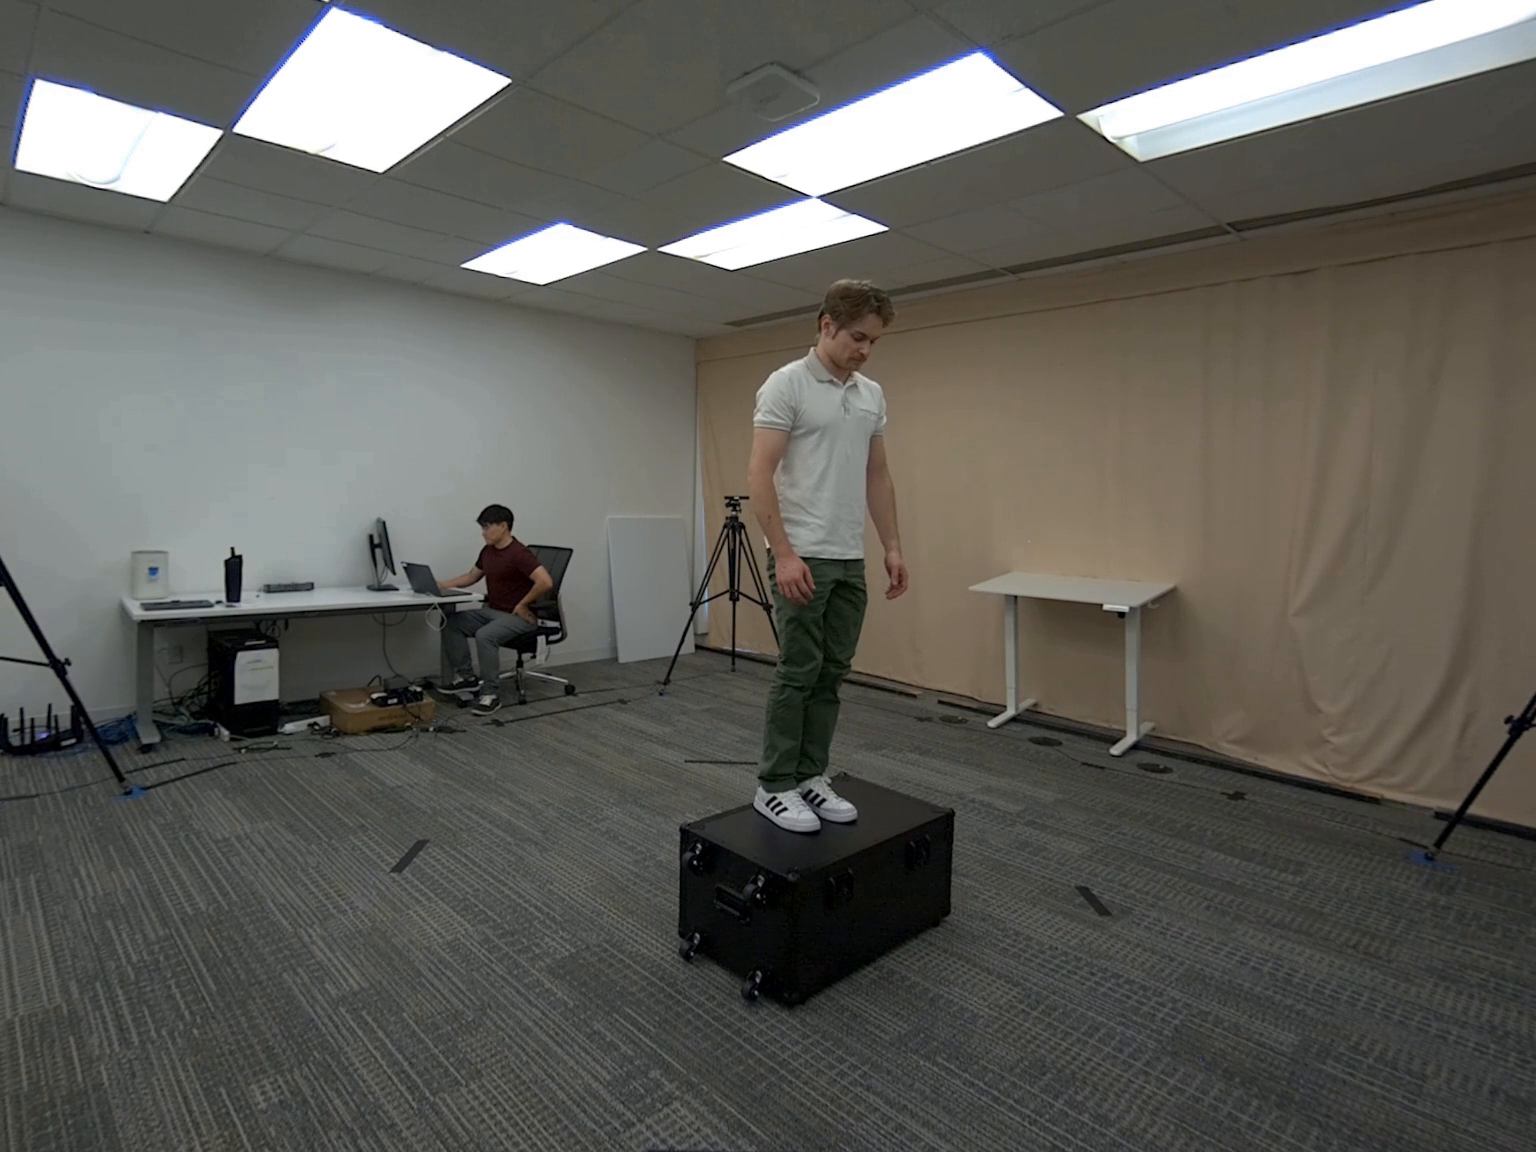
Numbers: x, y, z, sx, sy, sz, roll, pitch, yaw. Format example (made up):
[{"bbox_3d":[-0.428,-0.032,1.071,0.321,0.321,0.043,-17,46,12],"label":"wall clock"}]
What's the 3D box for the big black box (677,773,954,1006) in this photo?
[{"bbox_3d":[0.133,0.959,2.679,0.849,0.384,0.537,-4,8,-44],"label":"big black box"}]
